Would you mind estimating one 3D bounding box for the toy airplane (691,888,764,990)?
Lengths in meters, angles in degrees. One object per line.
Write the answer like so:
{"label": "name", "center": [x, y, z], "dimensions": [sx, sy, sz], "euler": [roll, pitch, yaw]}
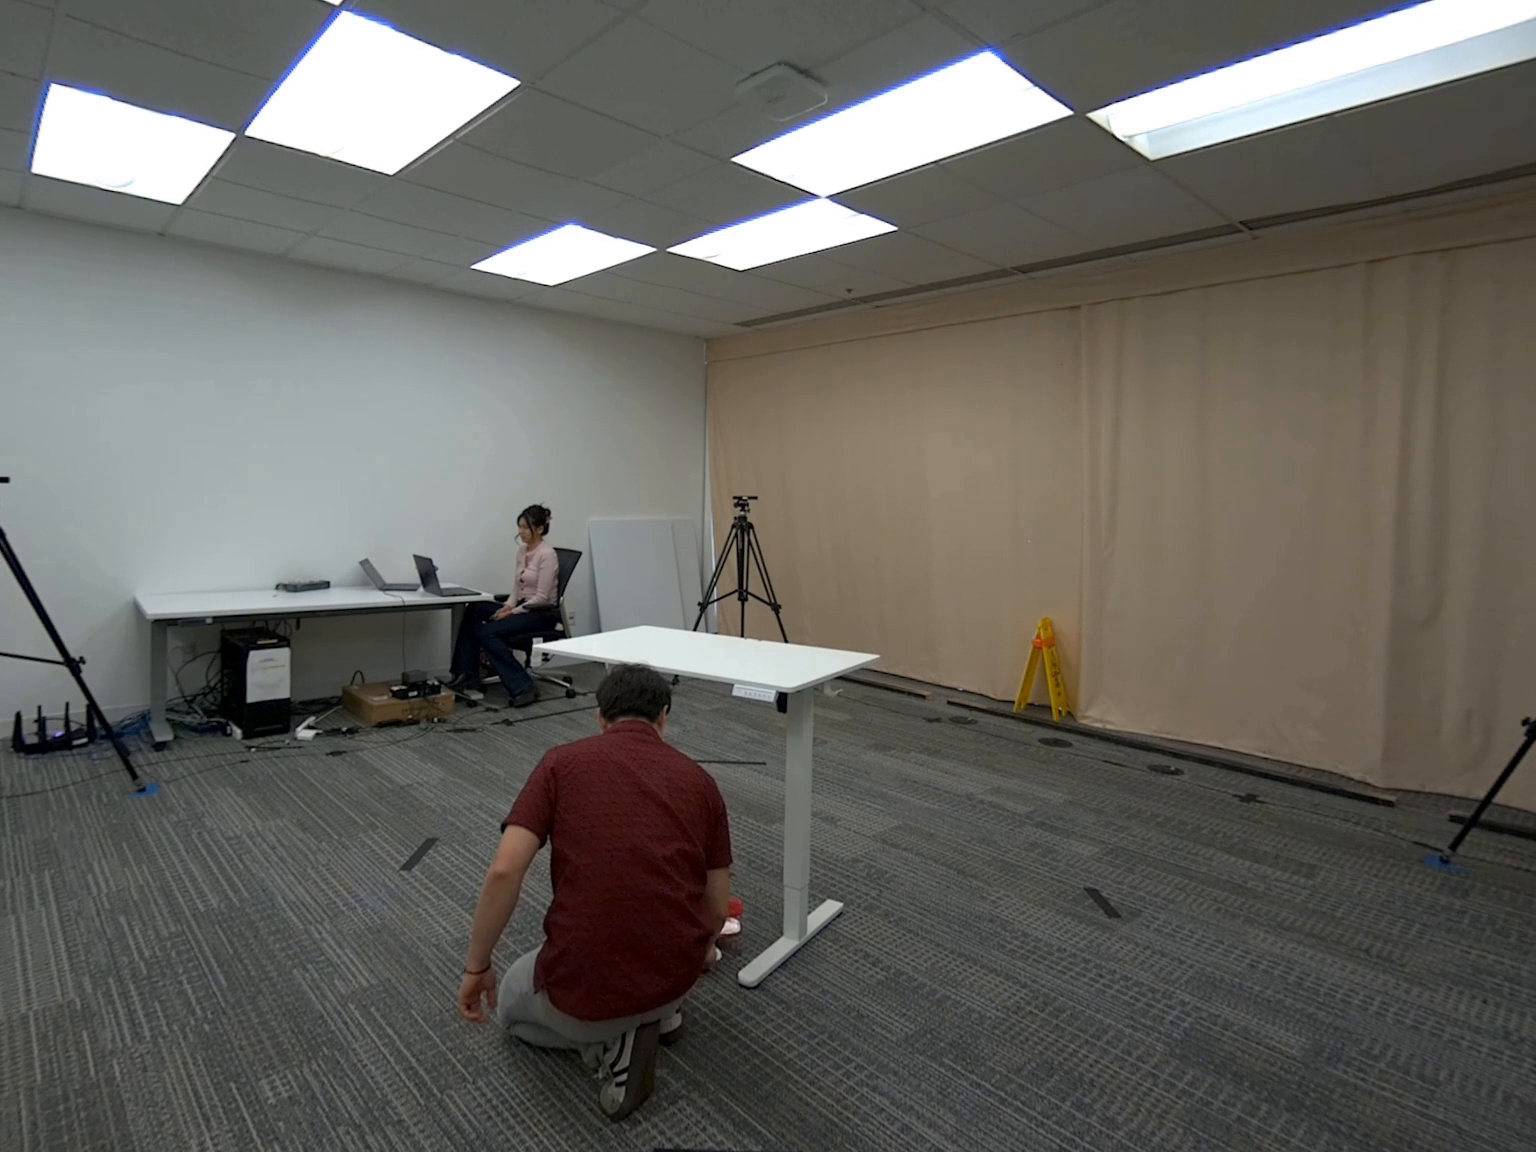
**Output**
{"label": "toy airplane", "center": [-0.189, 1.079, 2.554], "dimensions": [0.246, 0.156, 0.265], "euler": [-1, 5, -28]}
